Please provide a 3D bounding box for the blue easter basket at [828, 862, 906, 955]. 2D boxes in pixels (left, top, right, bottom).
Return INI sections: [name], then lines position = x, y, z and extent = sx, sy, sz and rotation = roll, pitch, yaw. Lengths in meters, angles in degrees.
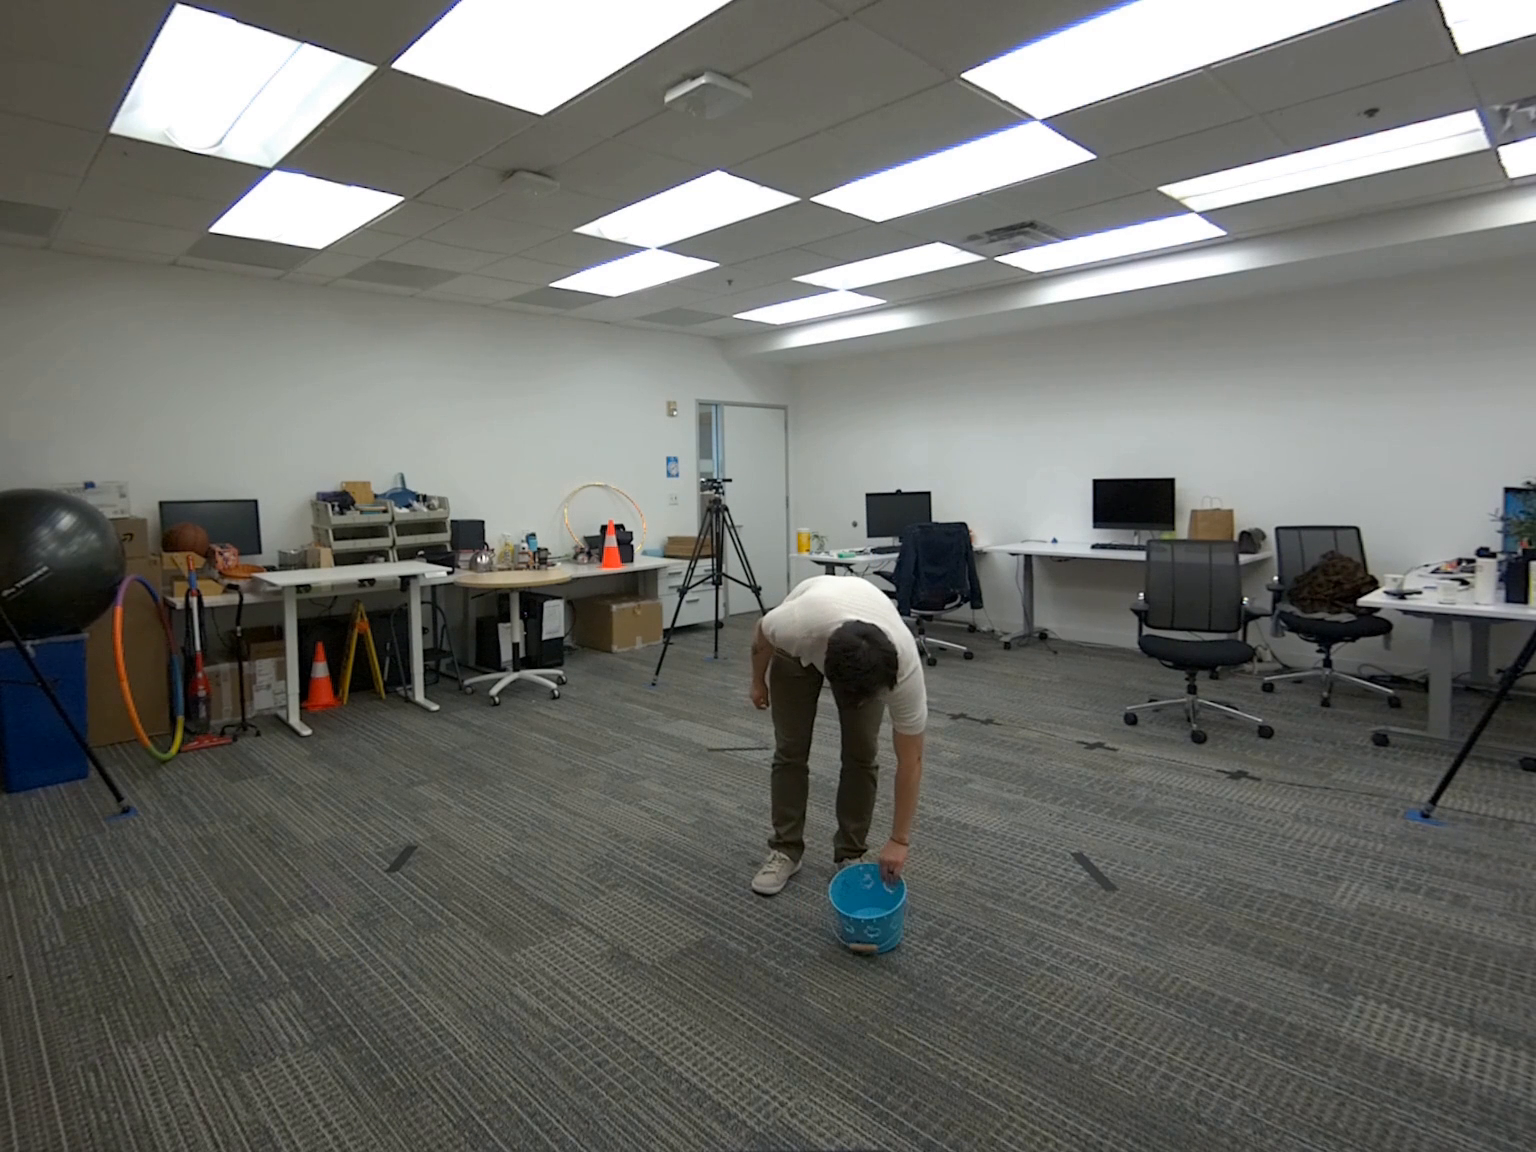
[blue easter basket]
position = 0.305, 1.007, 2.567
extent = 0.244, 0.153, 0.248
rotation = -8, 19, 1
